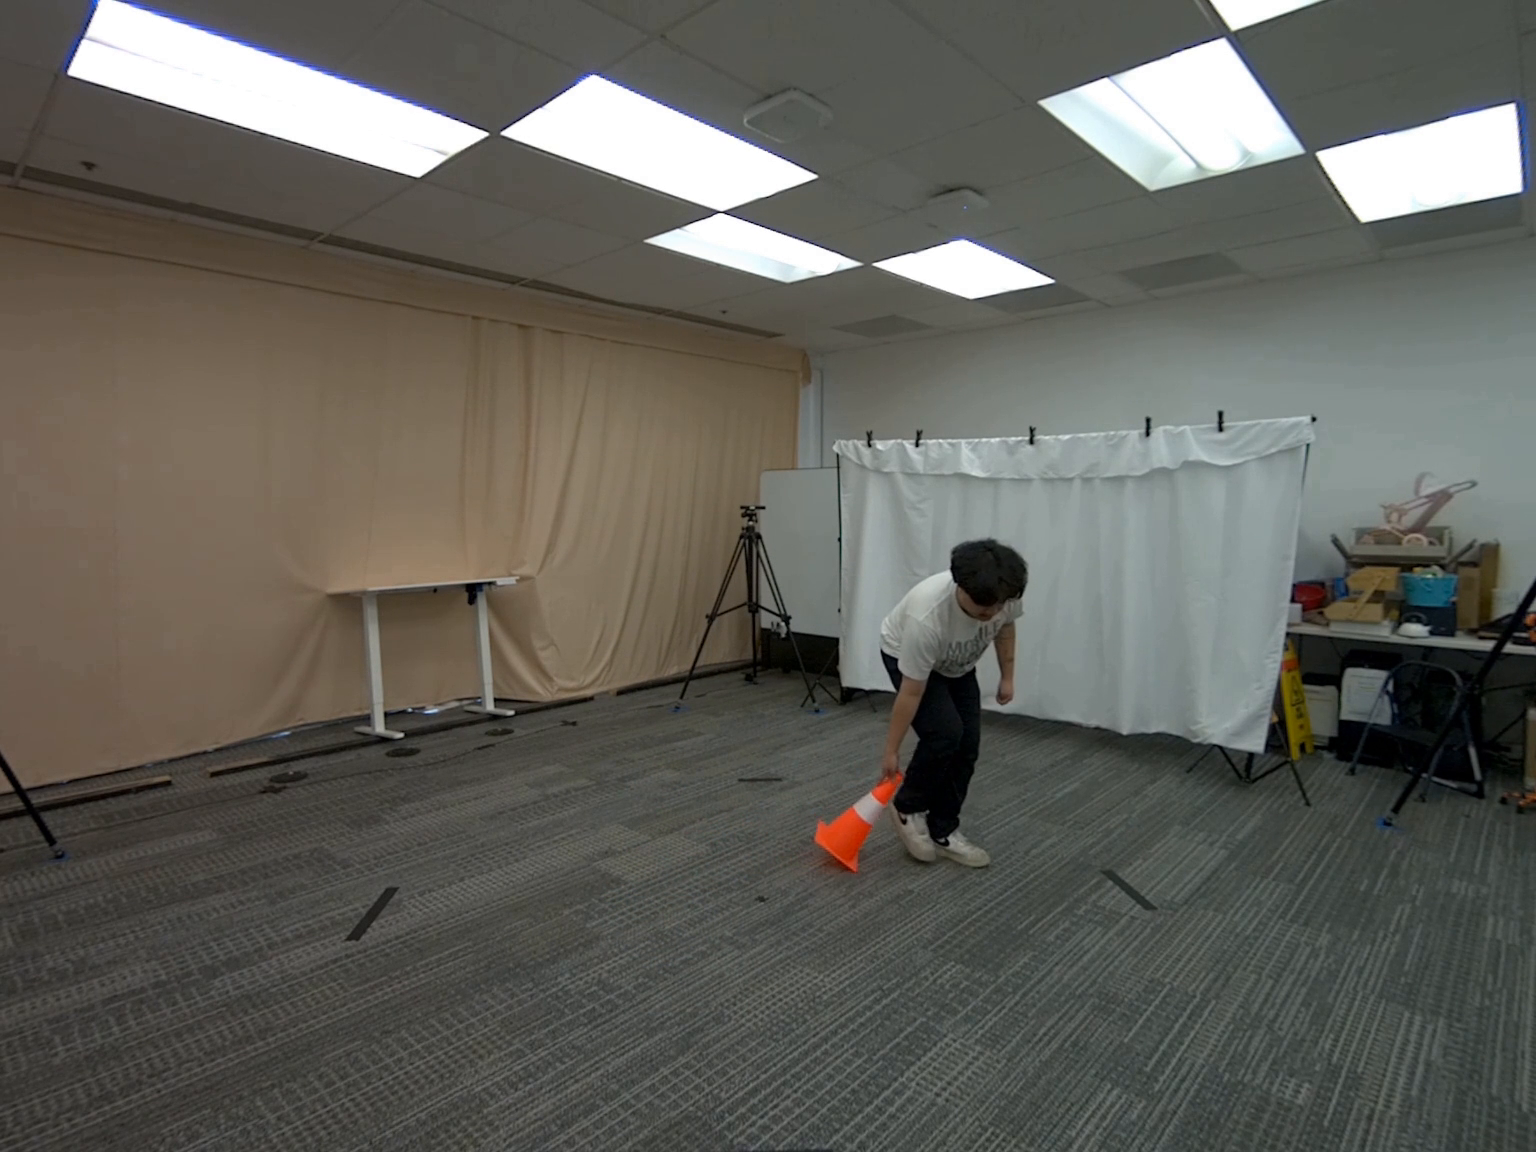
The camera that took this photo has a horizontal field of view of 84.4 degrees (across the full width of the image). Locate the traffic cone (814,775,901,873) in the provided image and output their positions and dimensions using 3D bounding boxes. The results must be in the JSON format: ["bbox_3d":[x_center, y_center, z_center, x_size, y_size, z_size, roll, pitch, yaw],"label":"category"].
[{"bbox_3d":[0.386,0.915,3.264,0.207,0.384,0.201,40,10,12],"label":"traffic cone"}]
